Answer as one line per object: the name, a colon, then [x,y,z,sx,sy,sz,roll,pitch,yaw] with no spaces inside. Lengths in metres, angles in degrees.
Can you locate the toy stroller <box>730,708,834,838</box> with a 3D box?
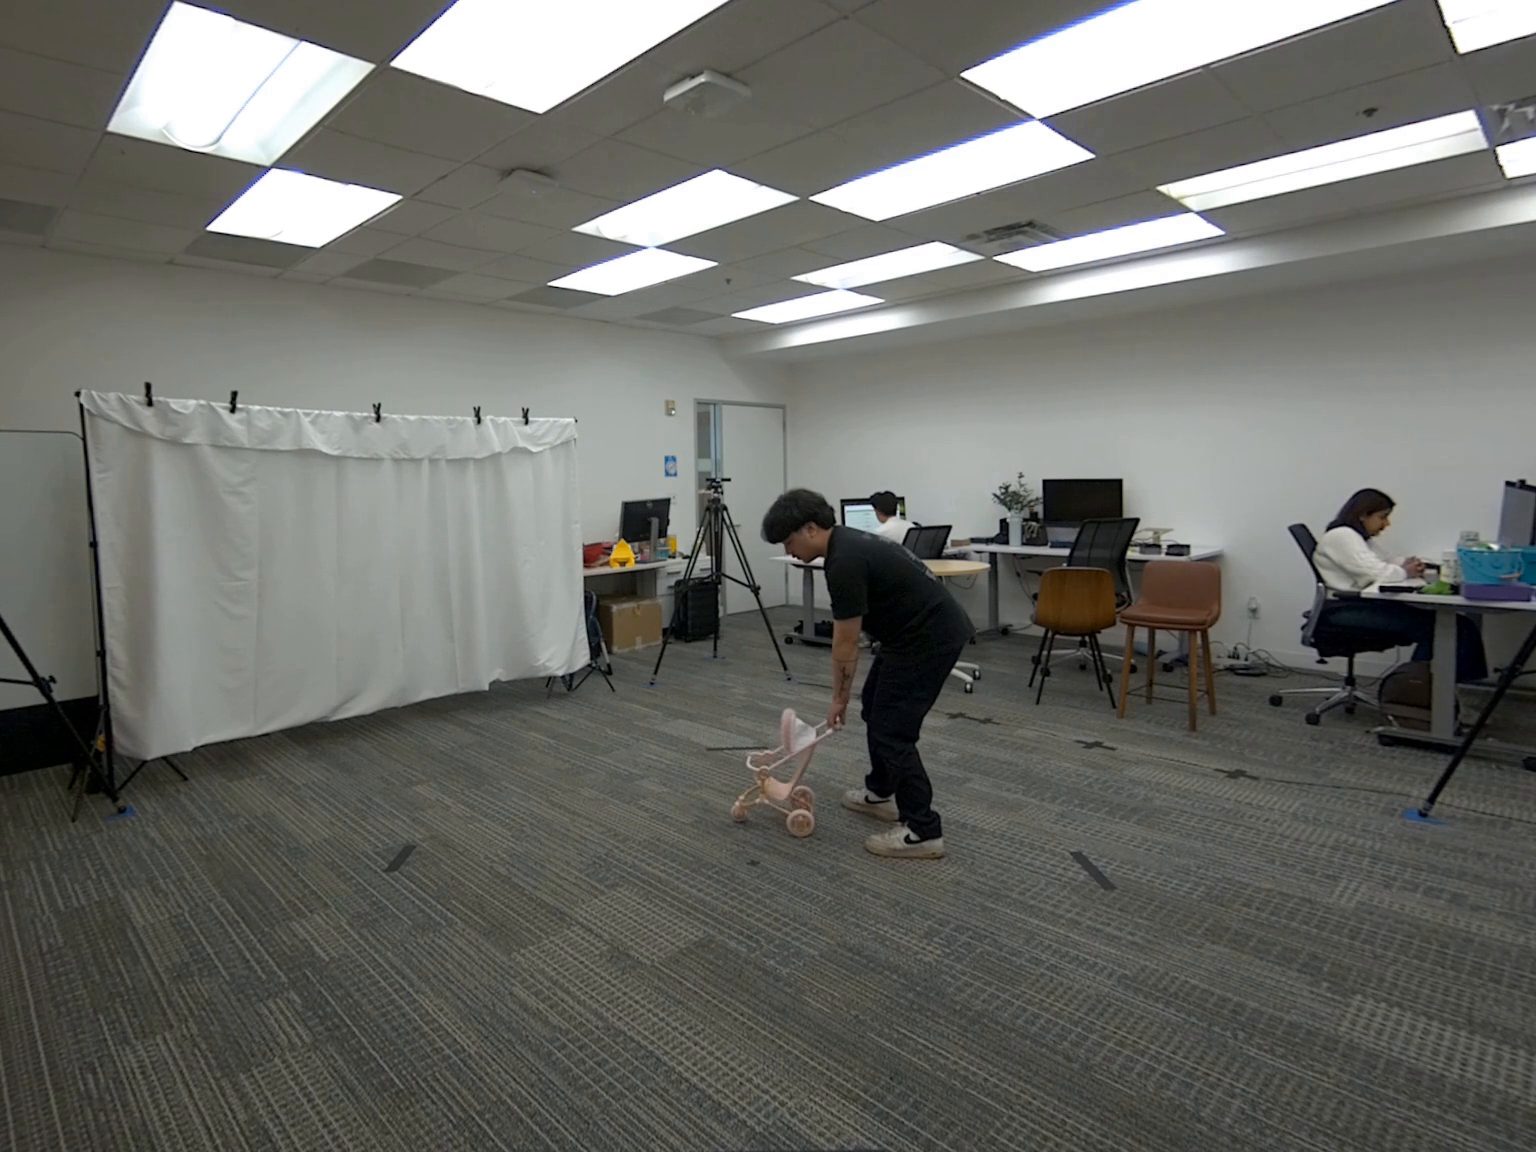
toy stroller: [0.072,0.777,3.443,0.346,0.533,0.279,16,7,10]
